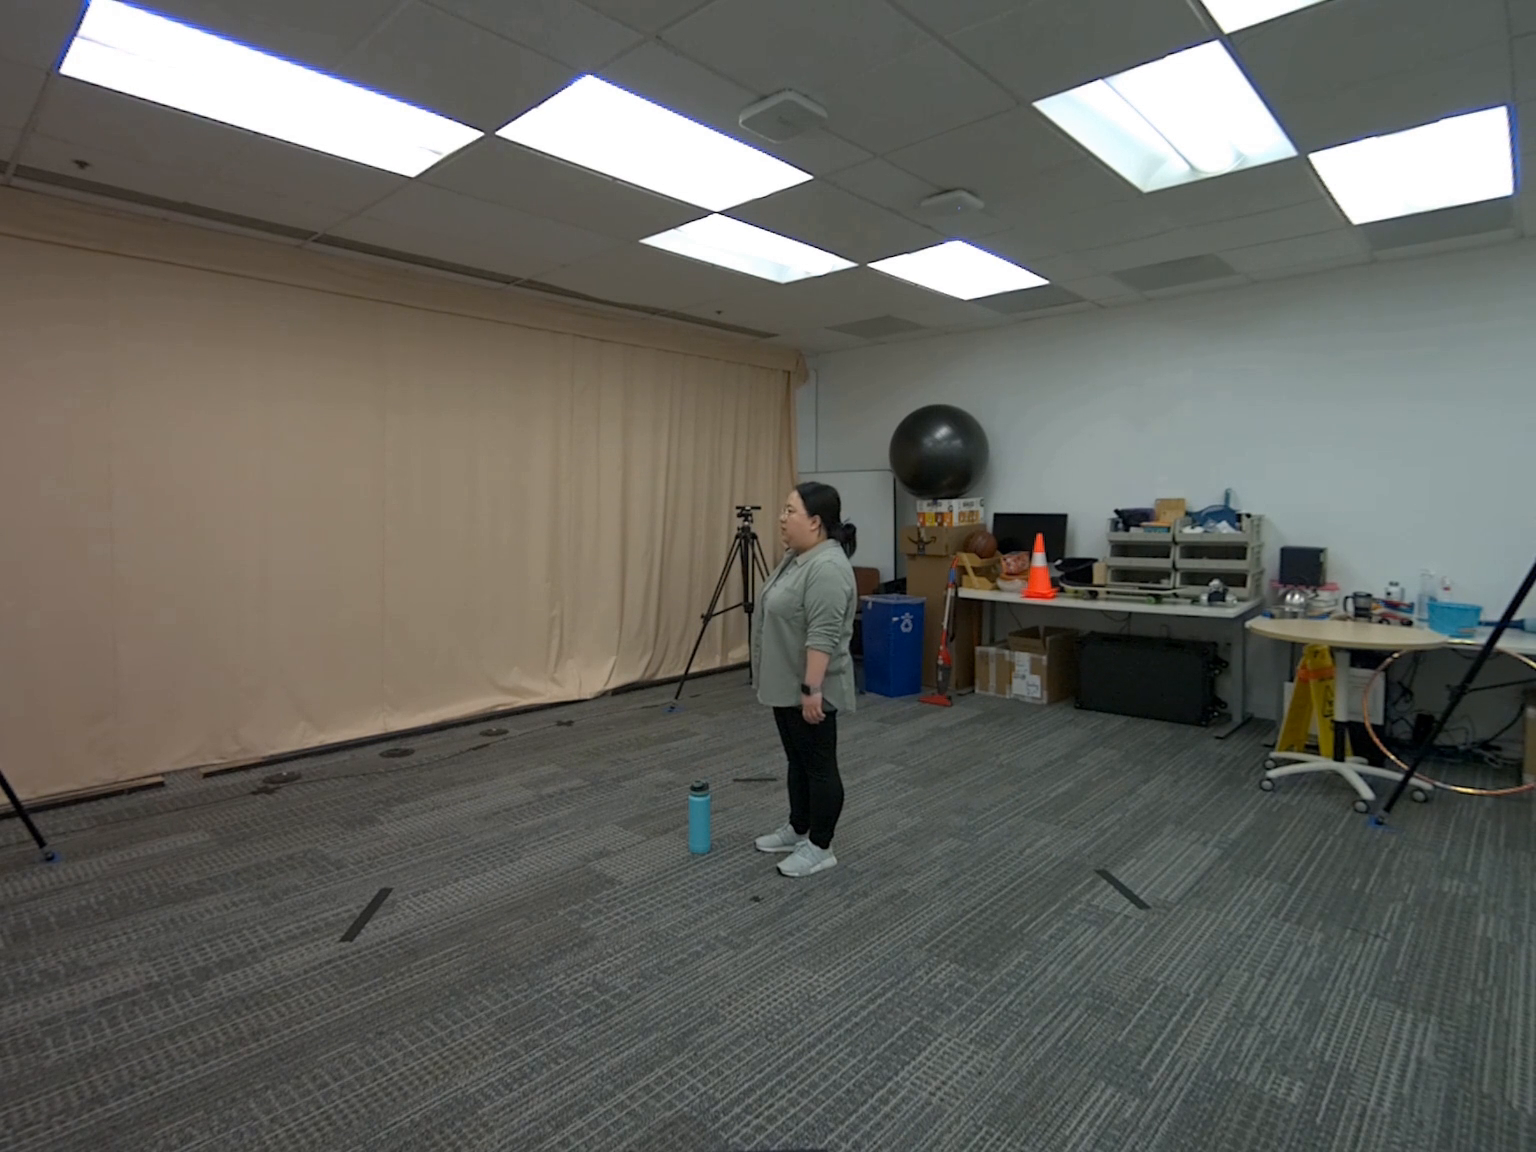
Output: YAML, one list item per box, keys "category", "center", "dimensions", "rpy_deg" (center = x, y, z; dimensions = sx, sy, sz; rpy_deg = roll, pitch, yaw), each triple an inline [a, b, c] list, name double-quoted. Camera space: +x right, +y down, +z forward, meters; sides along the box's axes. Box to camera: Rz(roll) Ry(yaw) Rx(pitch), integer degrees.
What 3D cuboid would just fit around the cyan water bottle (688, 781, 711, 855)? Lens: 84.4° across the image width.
- category: "cyan water bottle"
  center: [-0.277, 0.972, 3.418]
  dimensions: [0.092, 0.283, 0.092]
  rpy_deg: [-1, 2, -2]
